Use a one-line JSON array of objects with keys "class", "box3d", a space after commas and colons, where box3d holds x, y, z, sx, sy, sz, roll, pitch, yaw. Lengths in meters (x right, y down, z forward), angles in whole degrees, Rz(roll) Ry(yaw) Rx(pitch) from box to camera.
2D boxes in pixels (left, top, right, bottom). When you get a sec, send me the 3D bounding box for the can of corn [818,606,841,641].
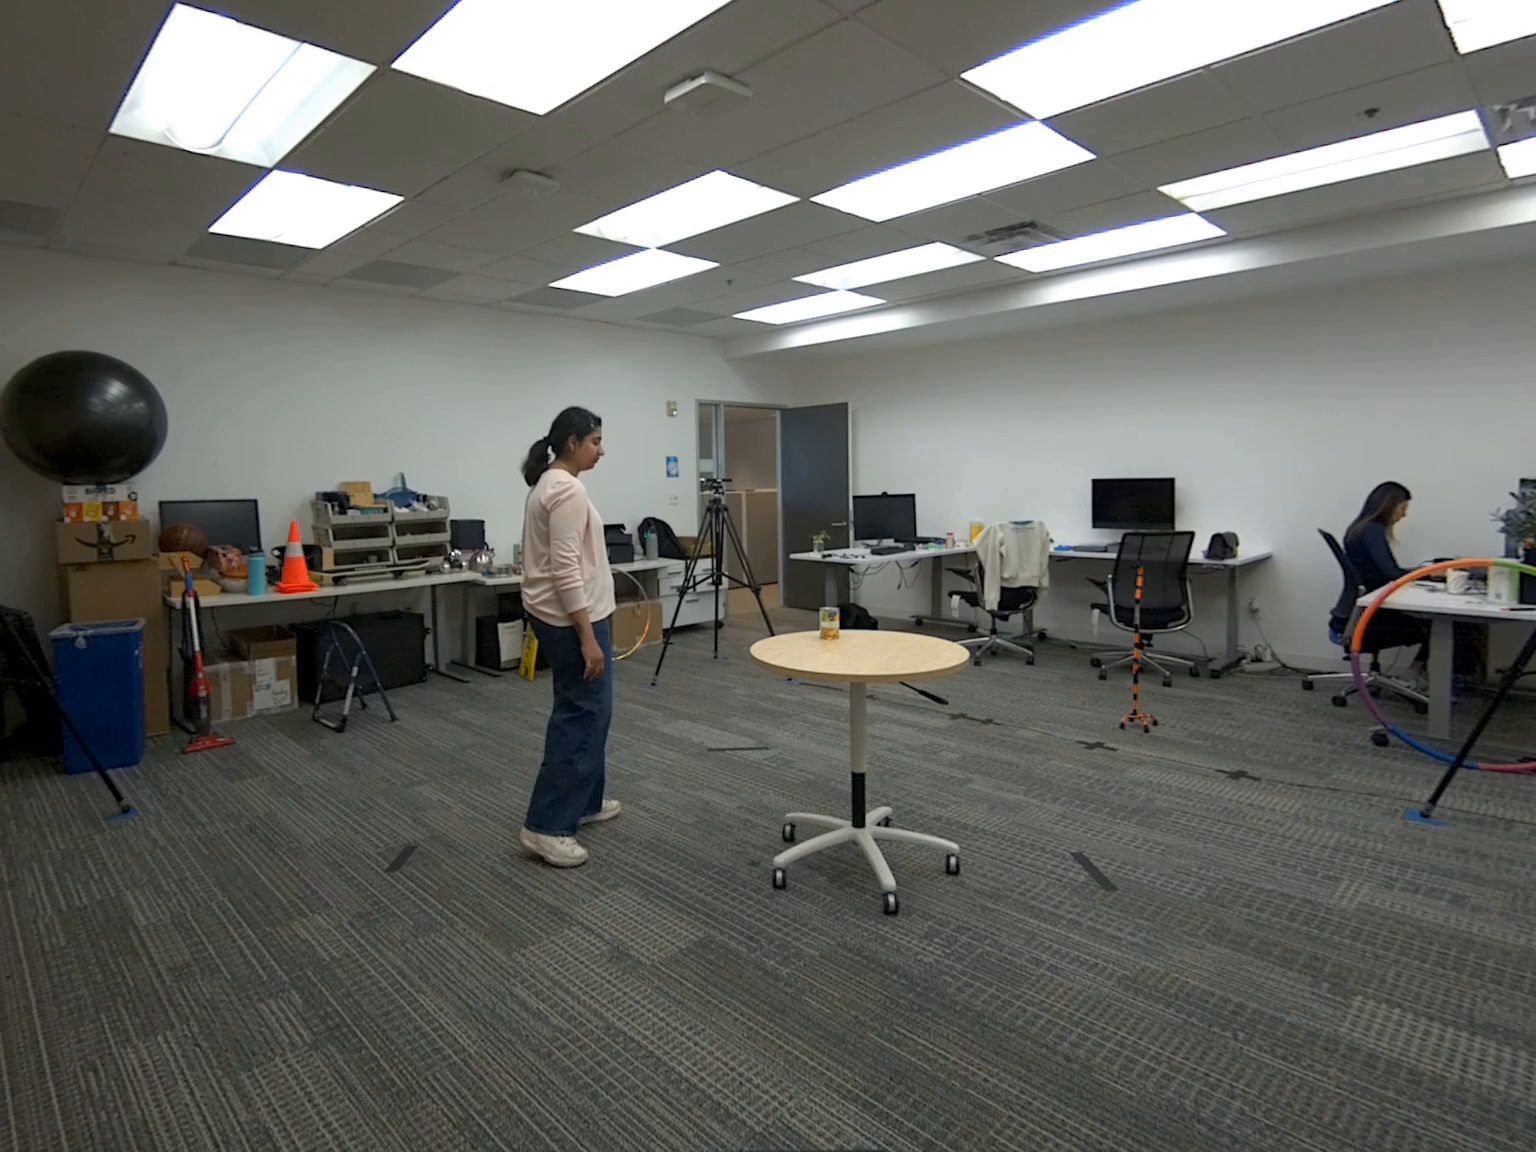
[{"class": "can of corn", "box3d": [0.230, 0.178, 3.248, 0.074, 0.111, 0.074, -2, 1, -2]}]
